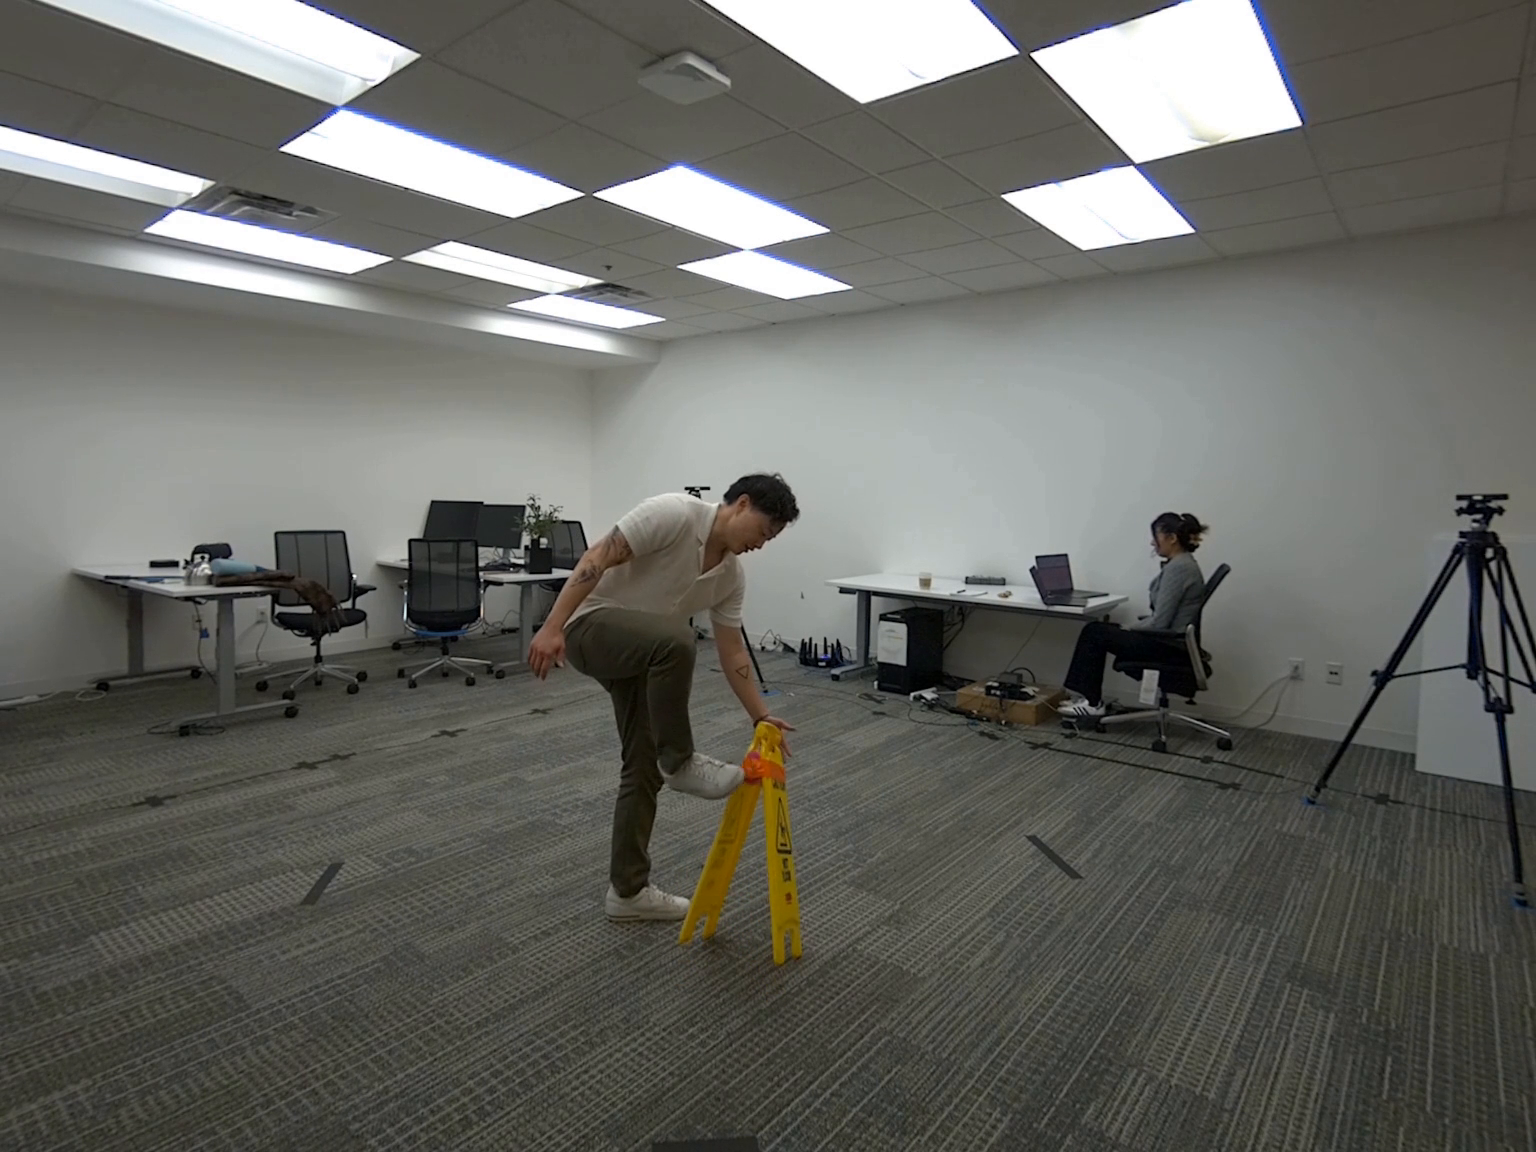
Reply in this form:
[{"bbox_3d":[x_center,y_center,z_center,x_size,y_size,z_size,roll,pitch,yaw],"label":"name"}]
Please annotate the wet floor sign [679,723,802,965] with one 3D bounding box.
[{"bbox_3d":[-0.040,0.778,2.568,0.296,0.654,0.273,2,-17,19],"label":"wet floor sign"}]
